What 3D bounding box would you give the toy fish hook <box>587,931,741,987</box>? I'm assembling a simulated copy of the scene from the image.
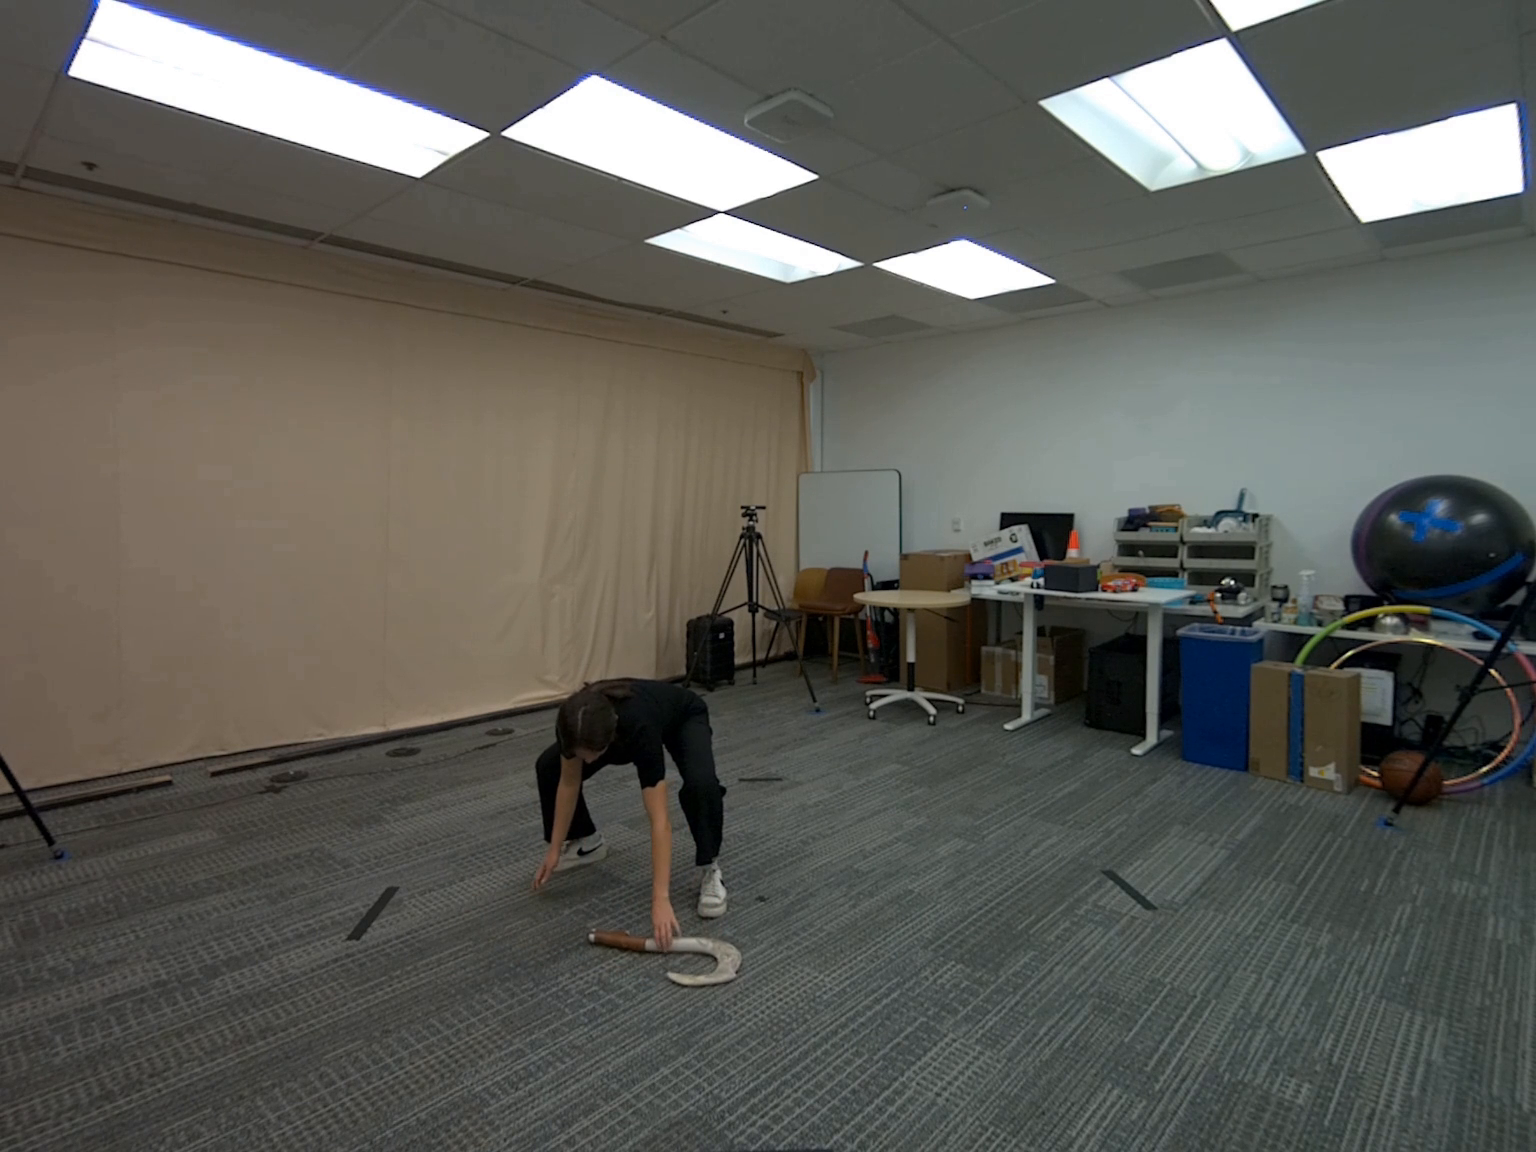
[{"bbox_3d":[-0.341,1.157,2.575,0.515,0.048,0.221,0,3,14],"label":"toy fish hook"}]
